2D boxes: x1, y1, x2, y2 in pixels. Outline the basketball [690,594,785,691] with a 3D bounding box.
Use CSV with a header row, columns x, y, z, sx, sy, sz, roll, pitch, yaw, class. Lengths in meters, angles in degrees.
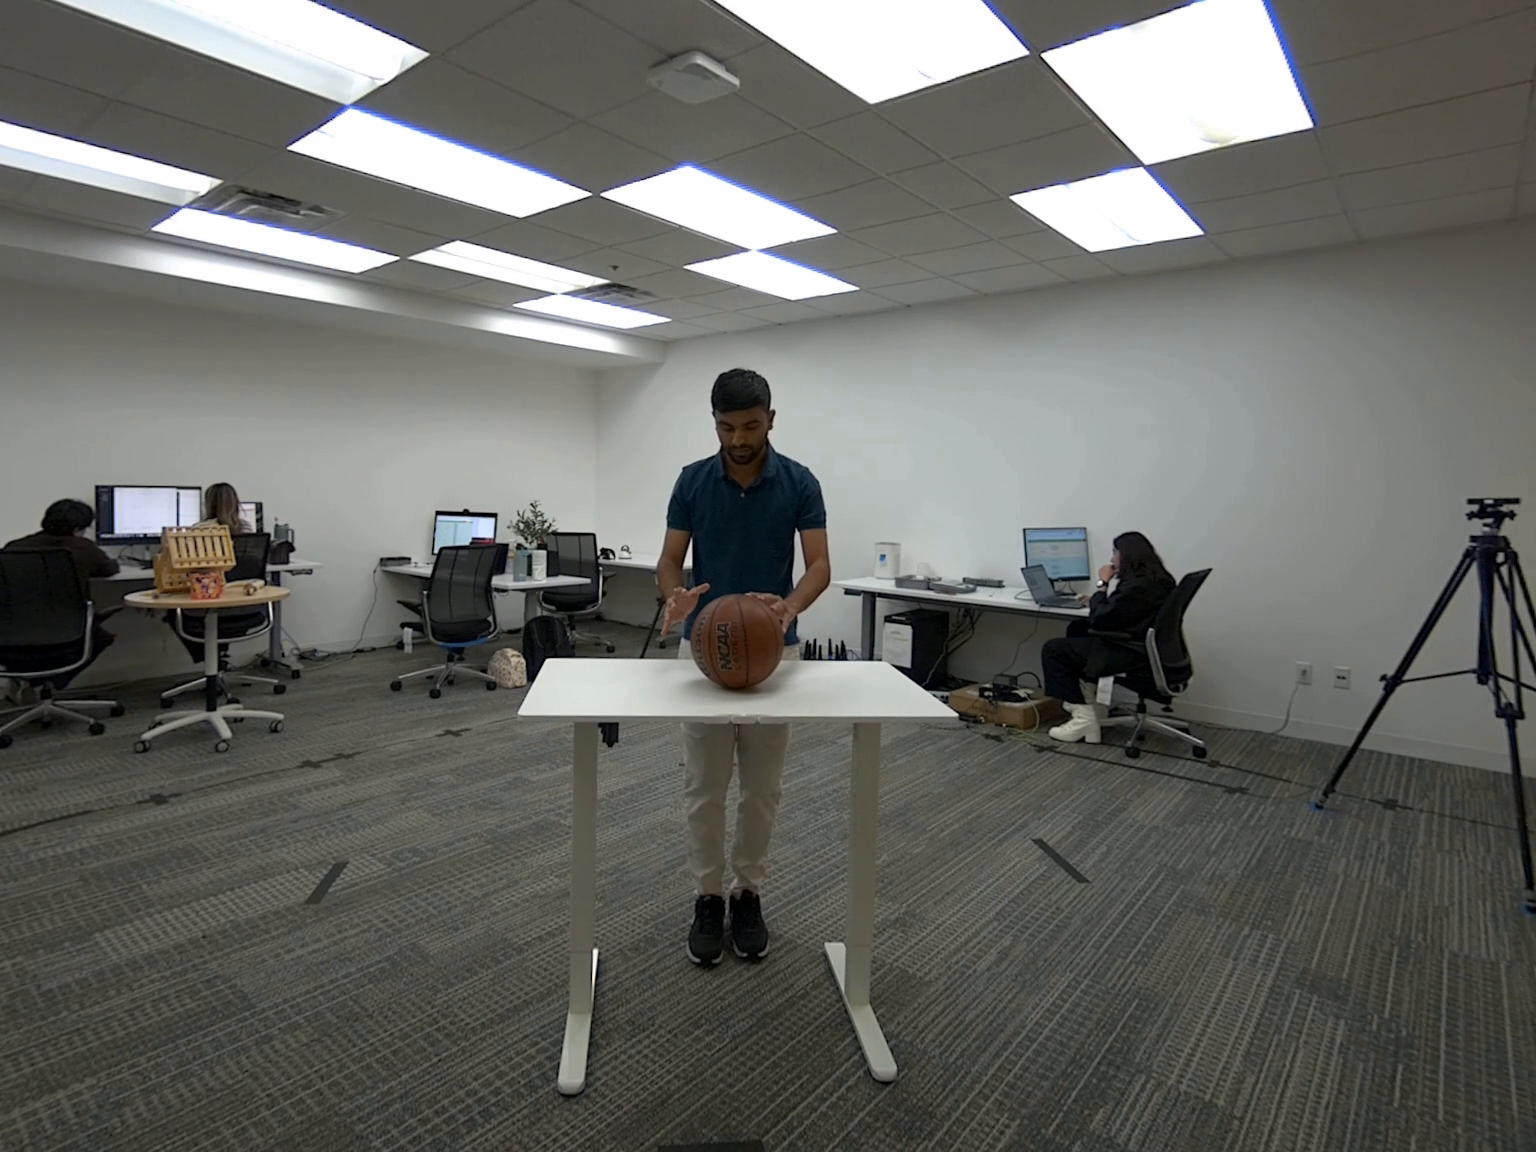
x,y,z,sx,sy,sz,roll,pitch,yaw,class
-0.081,0.164,2.168,0.235,0.235,0.237,1,4,-2,basketball
